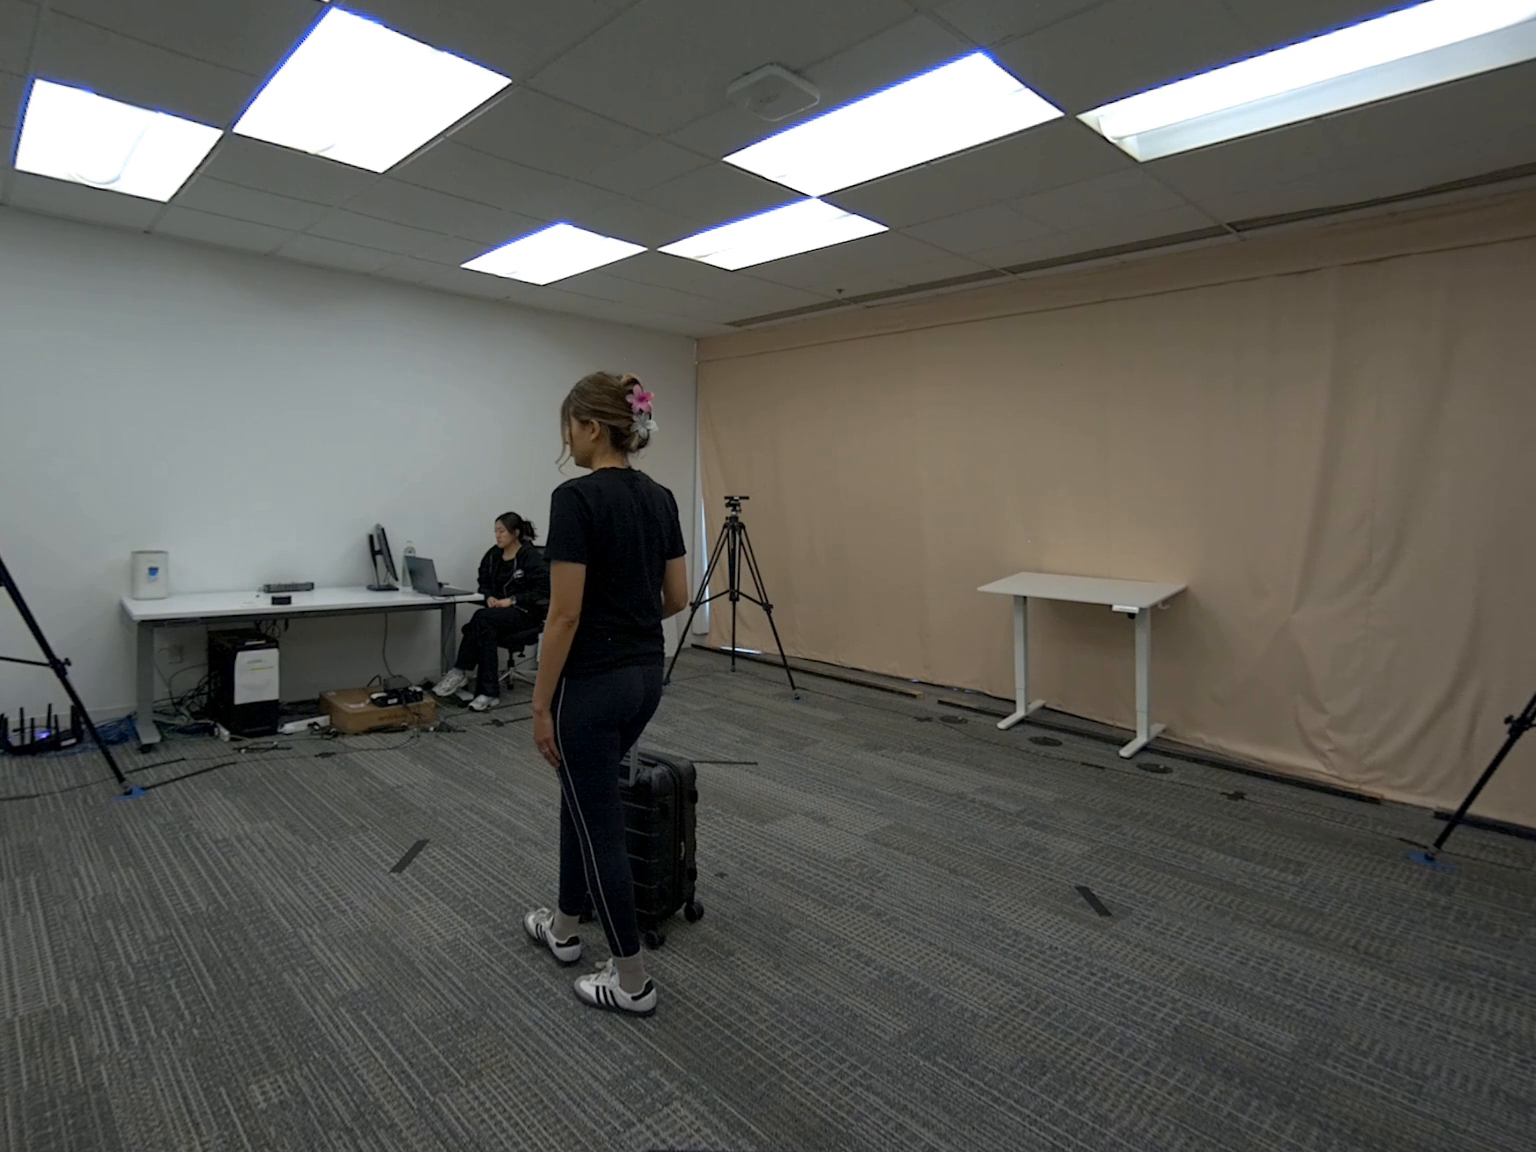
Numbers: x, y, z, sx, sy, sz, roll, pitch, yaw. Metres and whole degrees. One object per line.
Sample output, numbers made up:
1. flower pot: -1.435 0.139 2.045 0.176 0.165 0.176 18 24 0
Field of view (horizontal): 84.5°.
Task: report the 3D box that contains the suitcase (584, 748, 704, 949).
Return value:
1. suitcase: -0.431 0.657 2.770 0.392 0.979 0.251 1 -1 31
